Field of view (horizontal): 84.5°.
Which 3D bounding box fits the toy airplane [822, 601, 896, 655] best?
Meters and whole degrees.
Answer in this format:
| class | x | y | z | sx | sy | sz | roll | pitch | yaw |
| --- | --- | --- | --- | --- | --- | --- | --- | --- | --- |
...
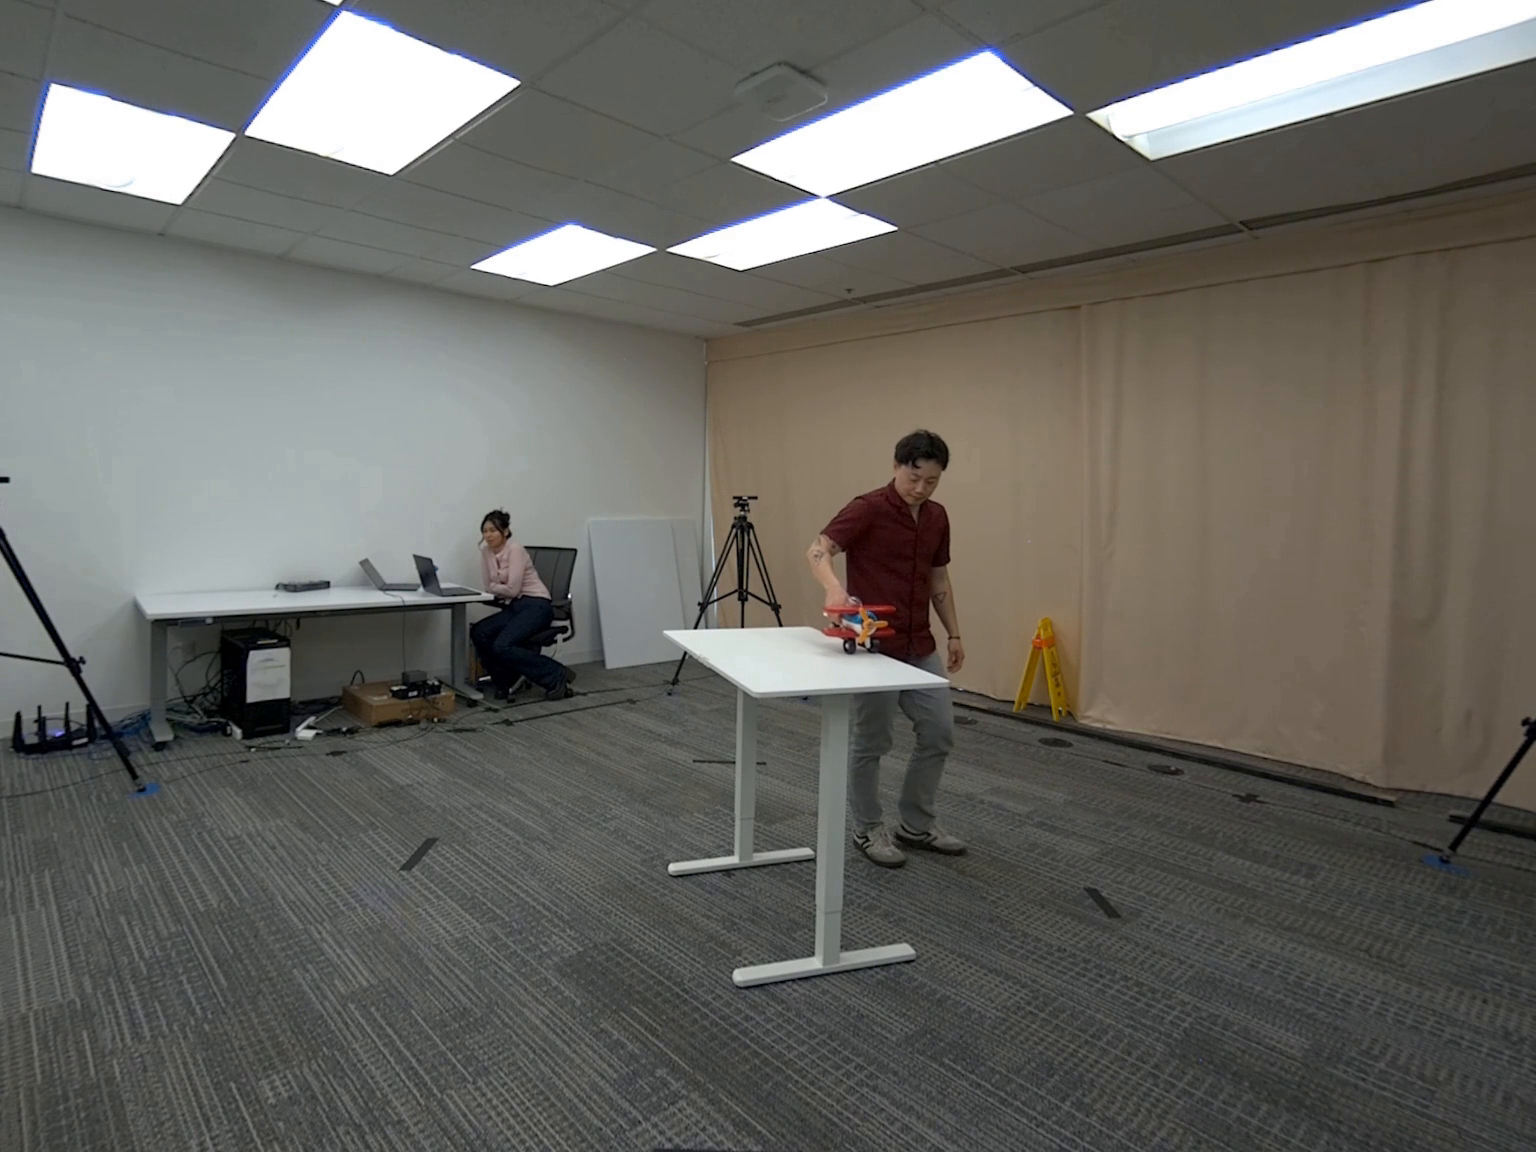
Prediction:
| class | x | y | z | sx | sy | sz | roll | pitch | yaw |
| --- | --- | --- | --- | --- | --- | --- | --- | --- | --- |
| toy airplane | 0.278 | 0.158 | 2.862 | 0.246 | 0.154 | 0.267 | -12 | 27 | -41 |
